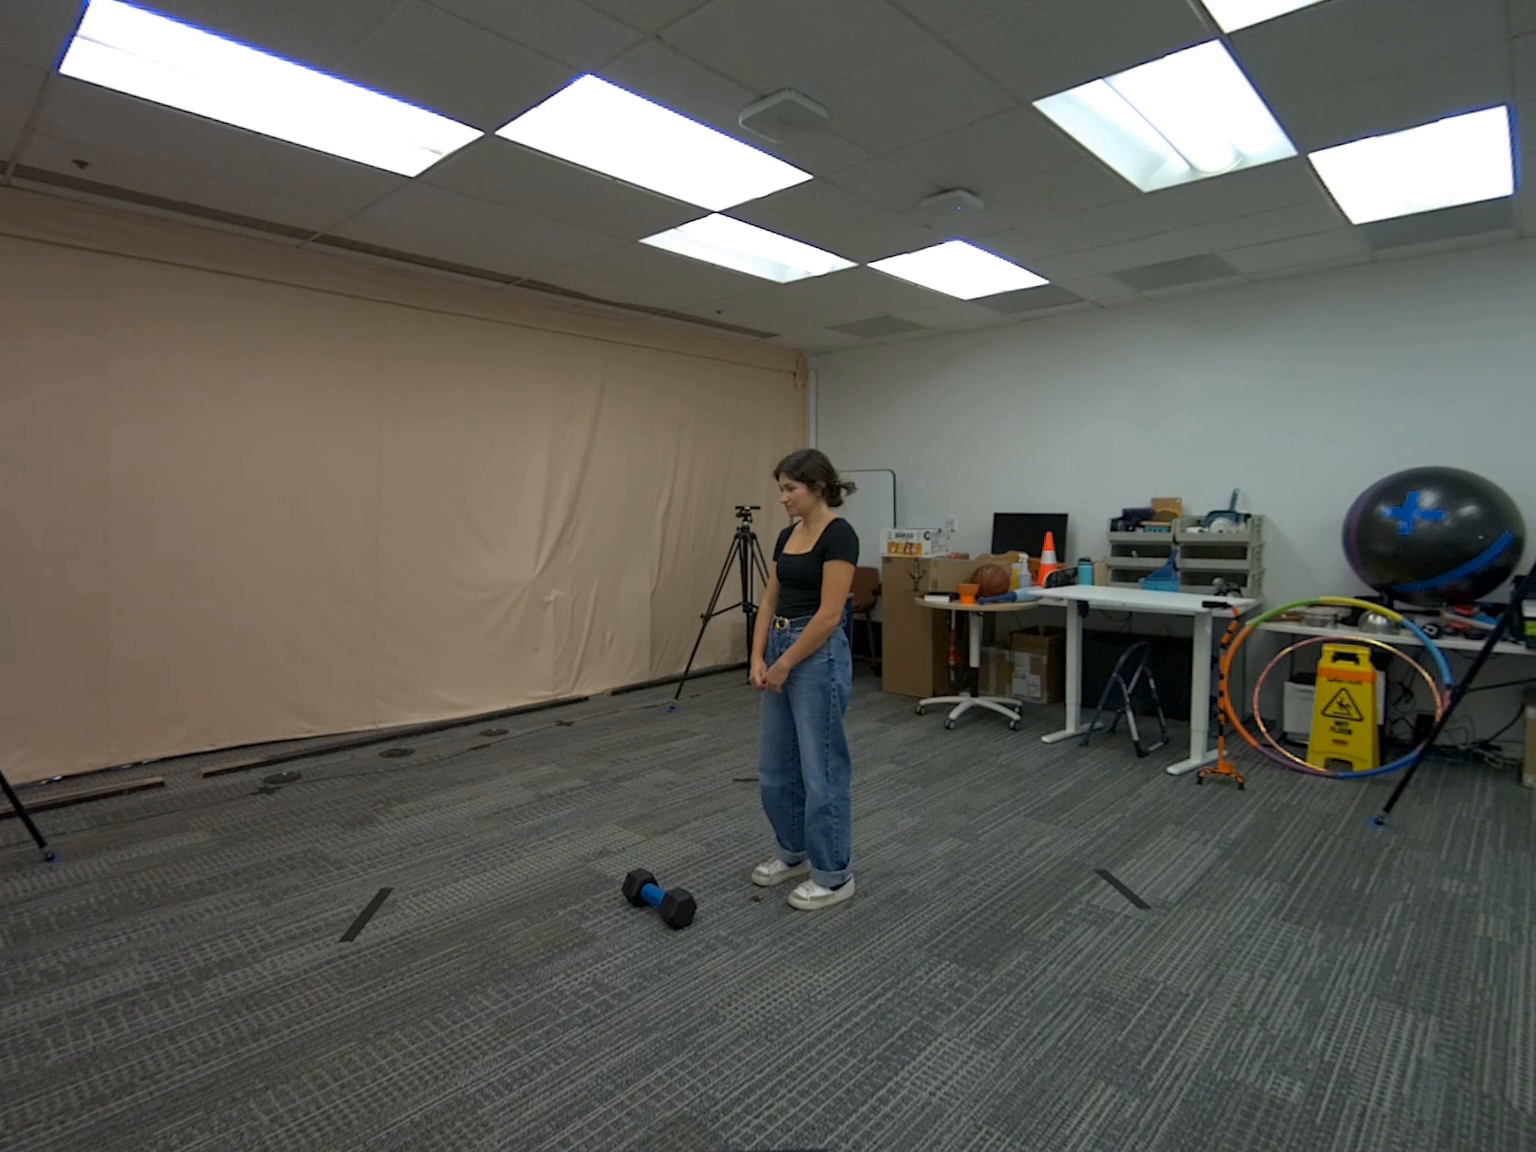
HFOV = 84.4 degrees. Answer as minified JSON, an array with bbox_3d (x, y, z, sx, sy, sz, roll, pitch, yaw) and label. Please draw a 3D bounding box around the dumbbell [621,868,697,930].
[{"bbox_3d":[-0.374,1.102,2.881,0.303,0.120,0.107,5,36,47],"label":"dumbbell"}]
